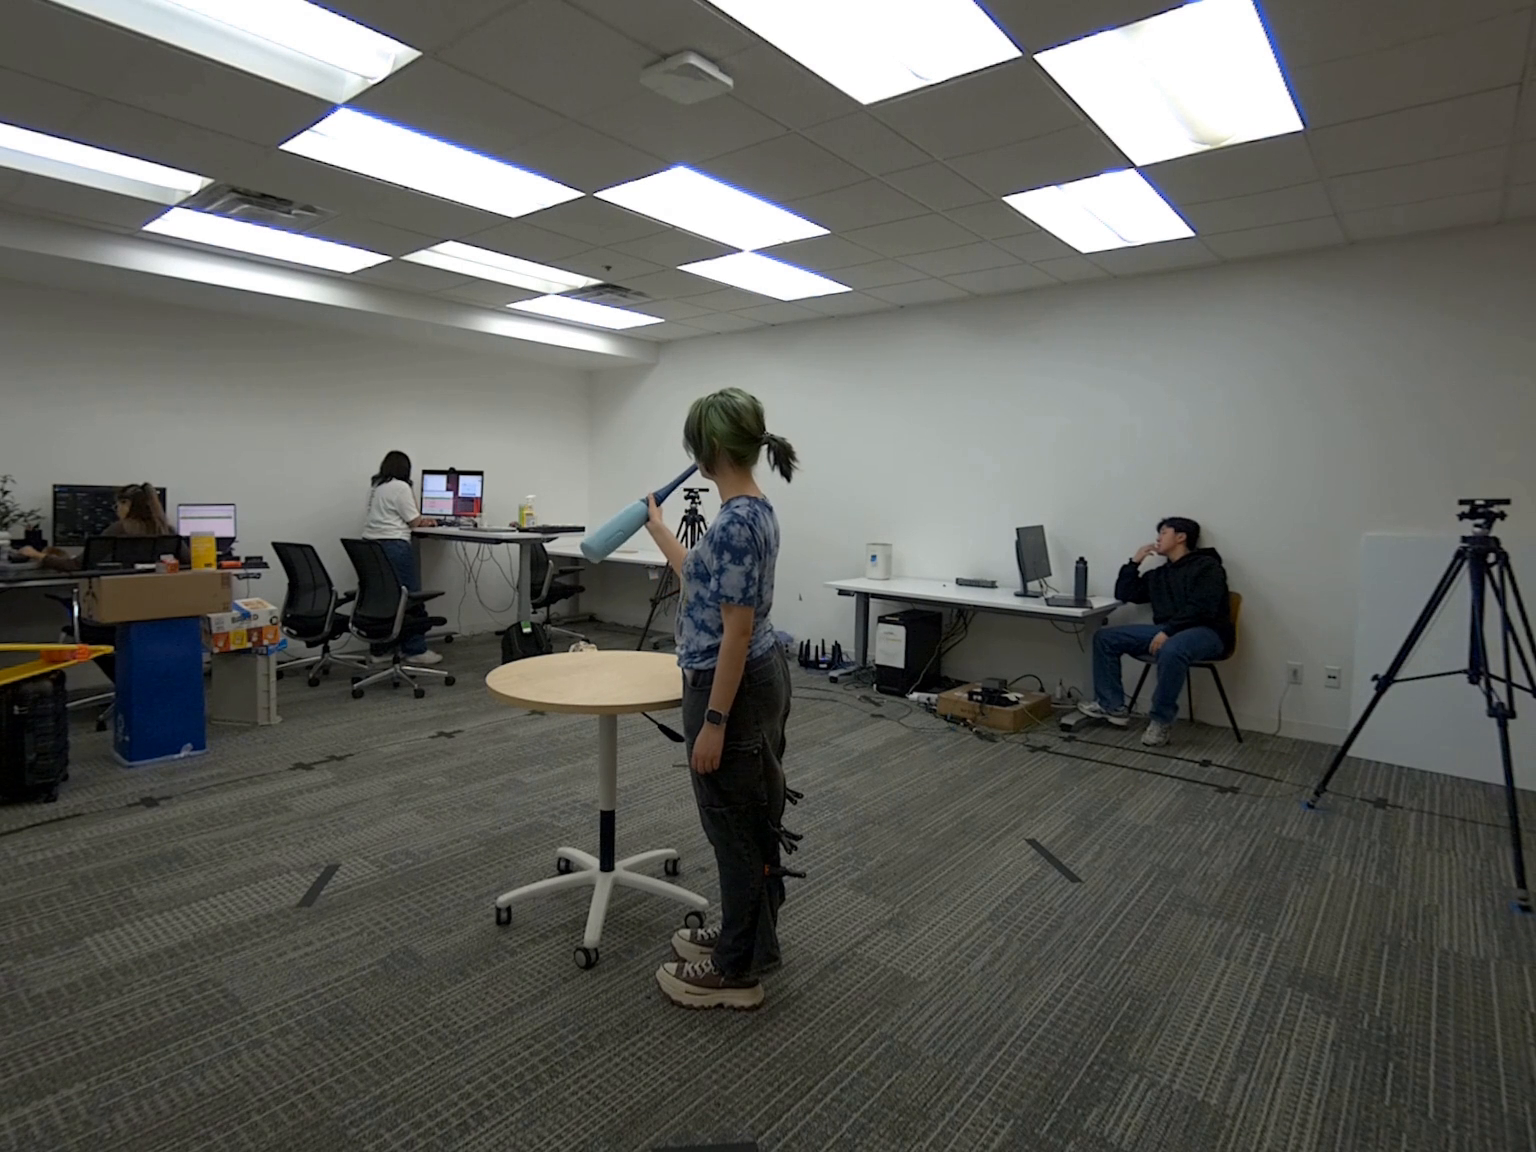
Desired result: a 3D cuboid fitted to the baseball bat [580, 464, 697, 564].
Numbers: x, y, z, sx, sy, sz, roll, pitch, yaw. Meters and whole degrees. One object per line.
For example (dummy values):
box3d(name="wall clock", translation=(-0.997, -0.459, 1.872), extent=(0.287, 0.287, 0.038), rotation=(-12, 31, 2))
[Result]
box3d(name="baseball bat", translation=(-0.404, -0.232, 2.764), extent=(0.541, 0.086, 0.092), rotation=(-44, 25, -23))
